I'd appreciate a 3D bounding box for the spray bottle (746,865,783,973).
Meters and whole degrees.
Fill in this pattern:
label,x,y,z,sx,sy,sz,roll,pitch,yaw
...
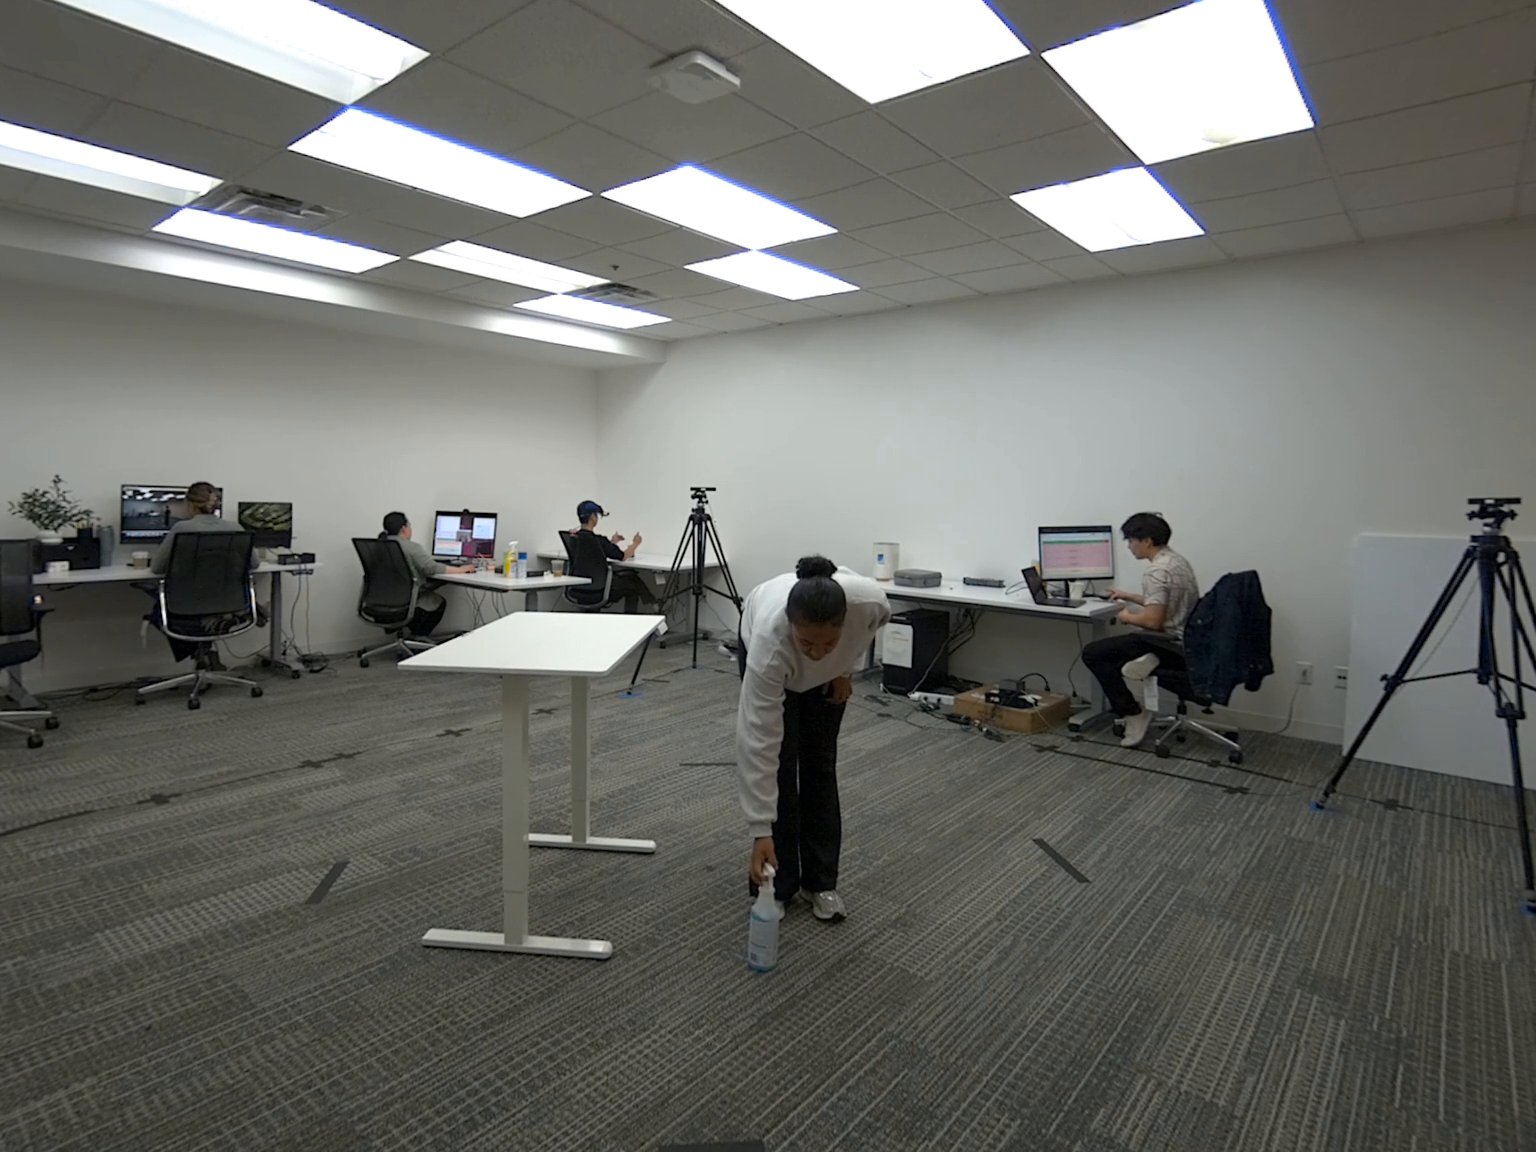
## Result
label,x,y,z,sx,sy,sz,roll,pitch,yaw
spray bottle,-0.016,0.985,2.472,0.088,0.295,0.089,6,7,14
